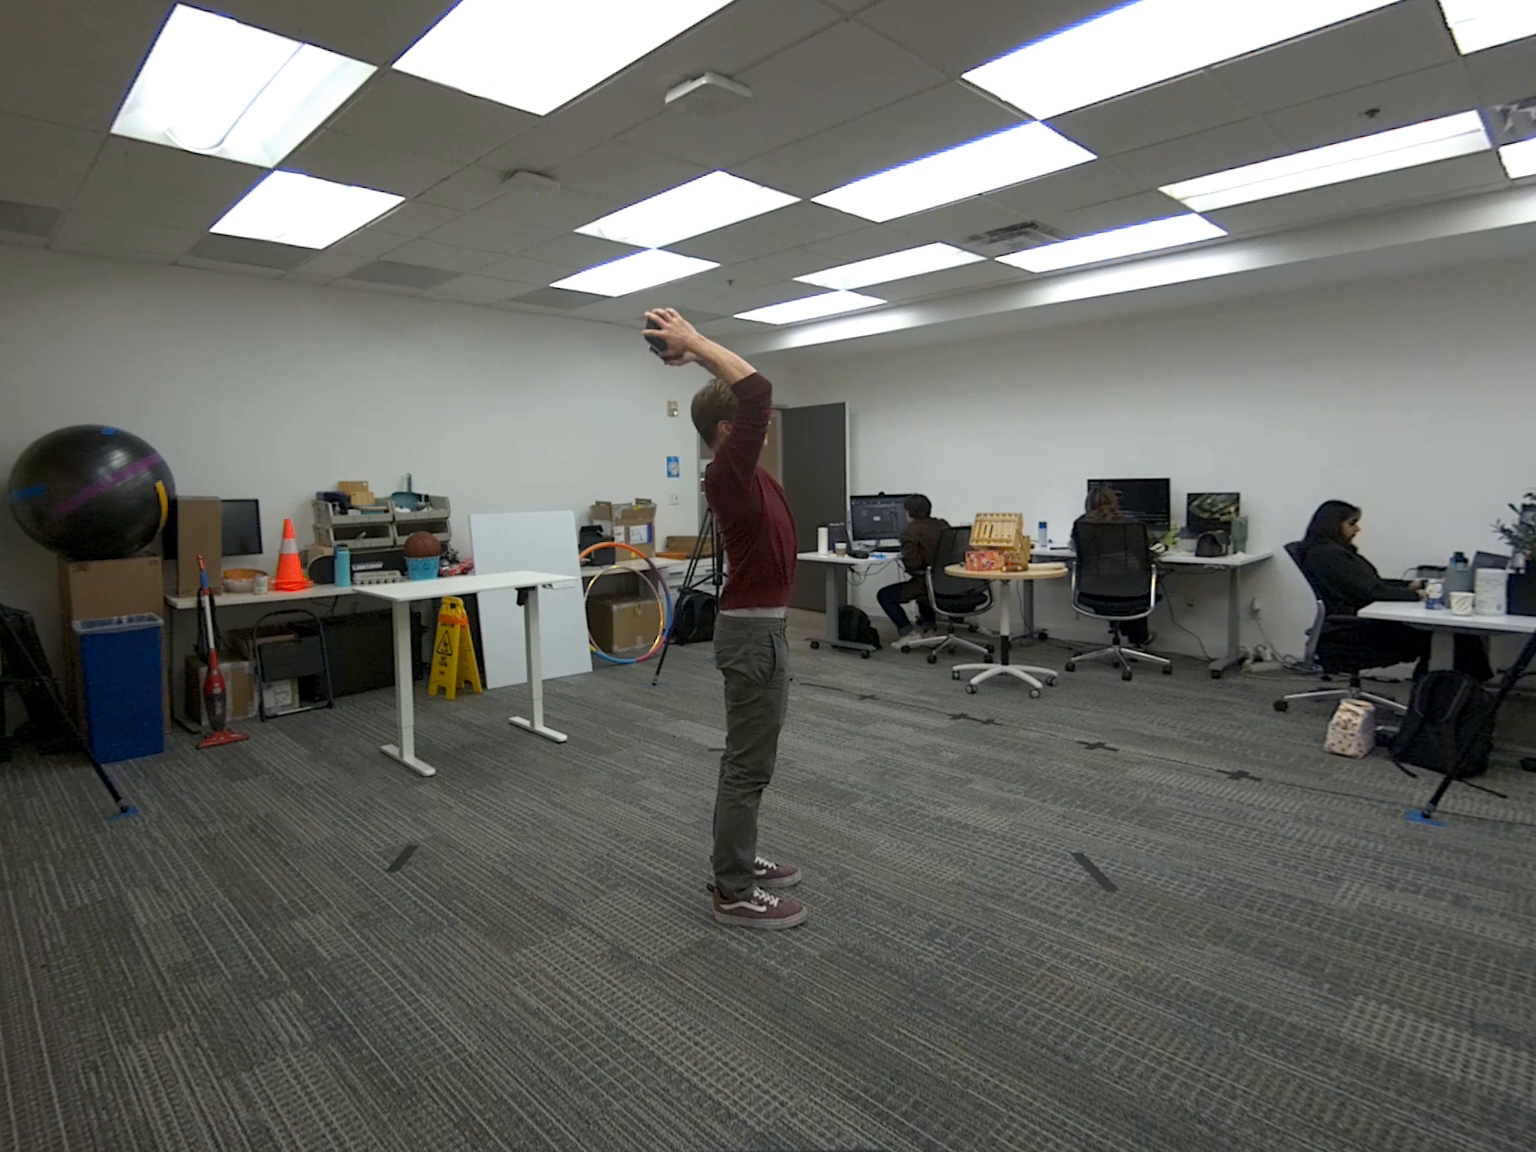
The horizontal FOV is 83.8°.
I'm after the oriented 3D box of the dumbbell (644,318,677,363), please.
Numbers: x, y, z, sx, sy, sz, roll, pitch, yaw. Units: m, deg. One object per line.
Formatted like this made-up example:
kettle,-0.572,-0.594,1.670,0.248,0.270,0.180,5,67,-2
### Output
dumbbell,-0.311,-0.760,2.721,0.123,0.108,0.294,-21,5,3
